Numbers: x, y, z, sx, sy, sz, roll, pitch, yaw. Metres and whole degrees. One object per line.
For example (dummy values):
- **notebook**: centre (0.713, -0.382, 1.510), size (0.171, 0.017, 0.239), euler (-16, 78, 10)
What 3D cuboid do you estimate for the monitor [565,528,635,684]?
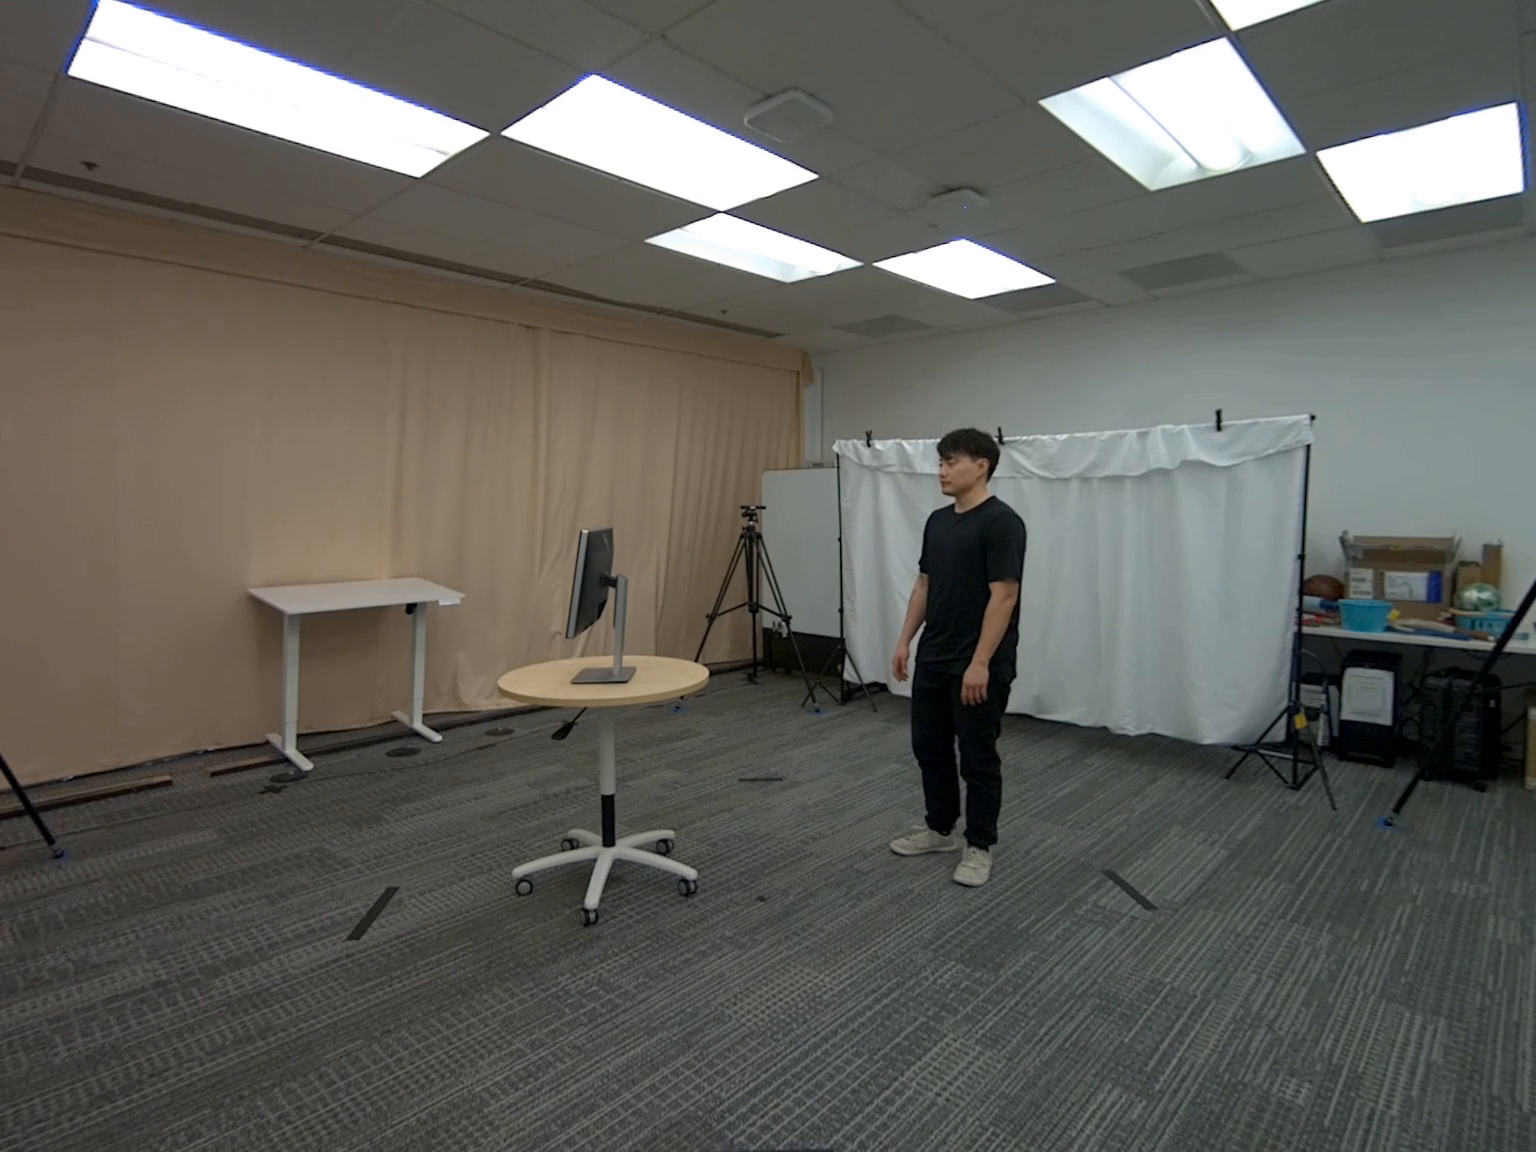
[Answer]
- **monitor**: centre (-0.592, 0.104, 3.042), size (0.187, 0.521, 0.540), euler (-2, 3, -2)
